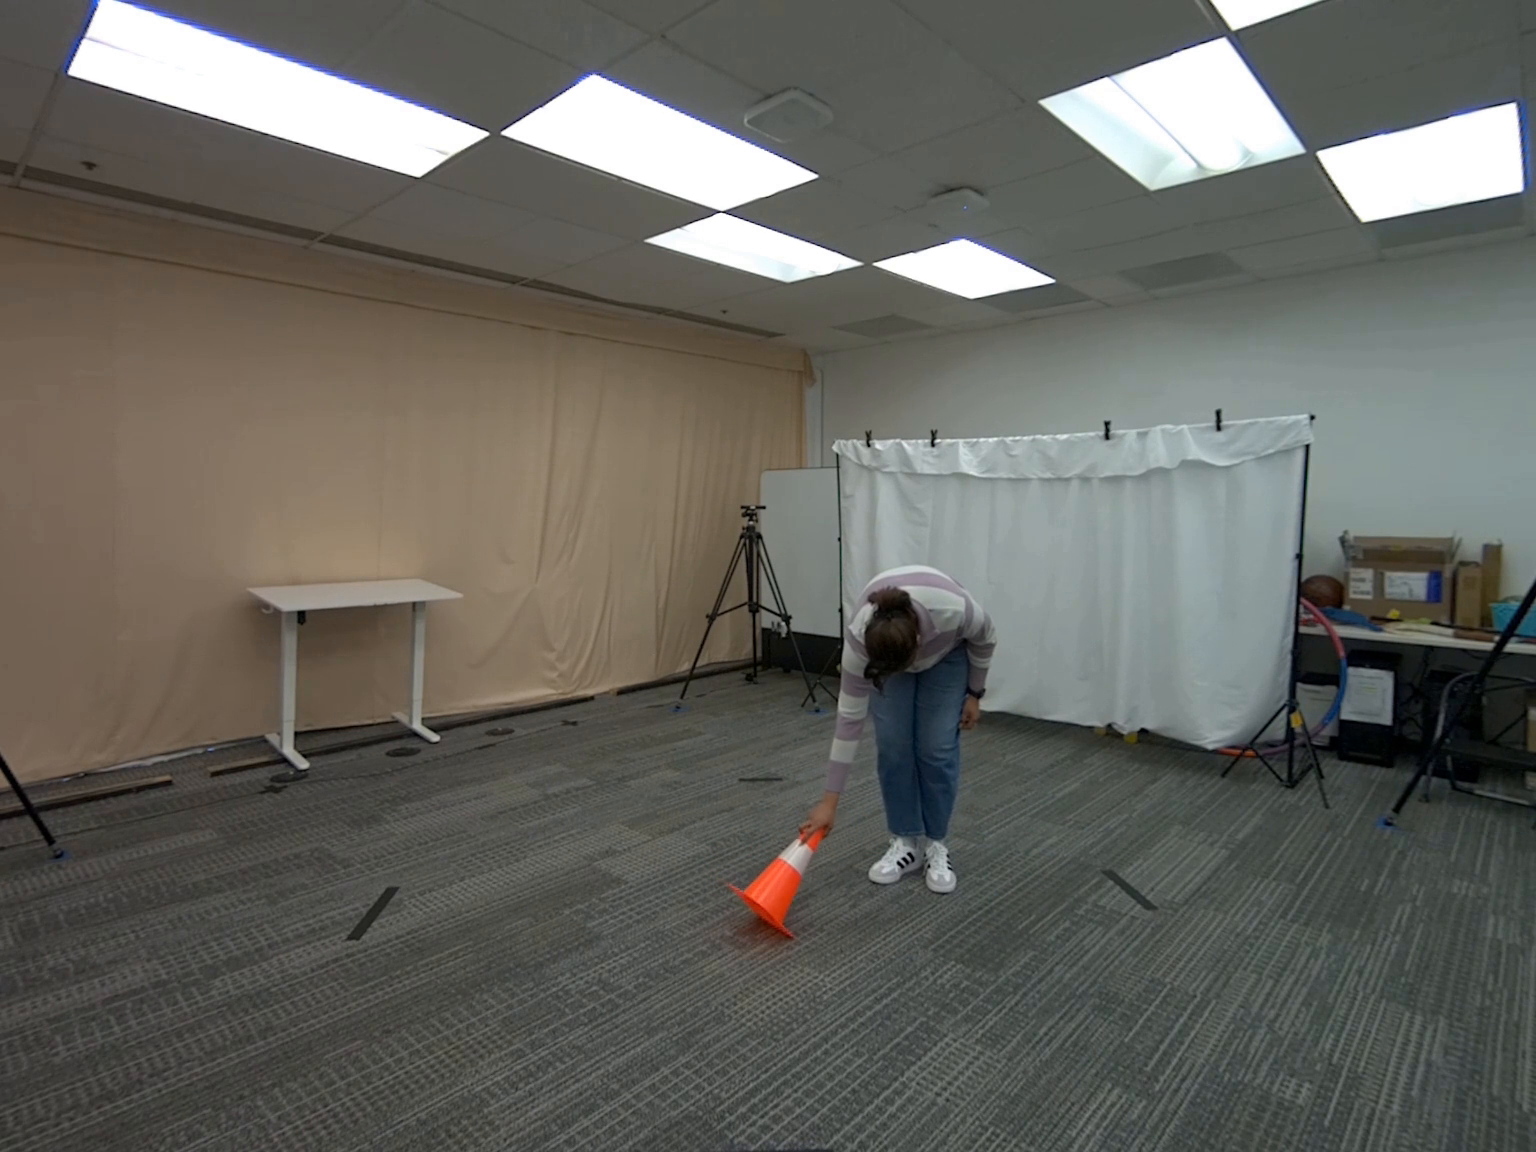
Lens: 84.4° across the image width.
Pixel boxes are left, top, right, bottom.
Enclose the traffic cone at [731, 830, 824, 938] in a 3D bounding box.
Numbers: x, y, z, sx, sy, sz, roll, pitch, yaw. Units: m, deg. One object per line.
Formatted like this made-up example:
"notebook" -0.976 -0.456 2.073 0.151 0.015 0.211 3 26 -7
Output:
"traffic cone" 0.086 0.954 2.817 0.210 0.199 0.382 5 50 51
